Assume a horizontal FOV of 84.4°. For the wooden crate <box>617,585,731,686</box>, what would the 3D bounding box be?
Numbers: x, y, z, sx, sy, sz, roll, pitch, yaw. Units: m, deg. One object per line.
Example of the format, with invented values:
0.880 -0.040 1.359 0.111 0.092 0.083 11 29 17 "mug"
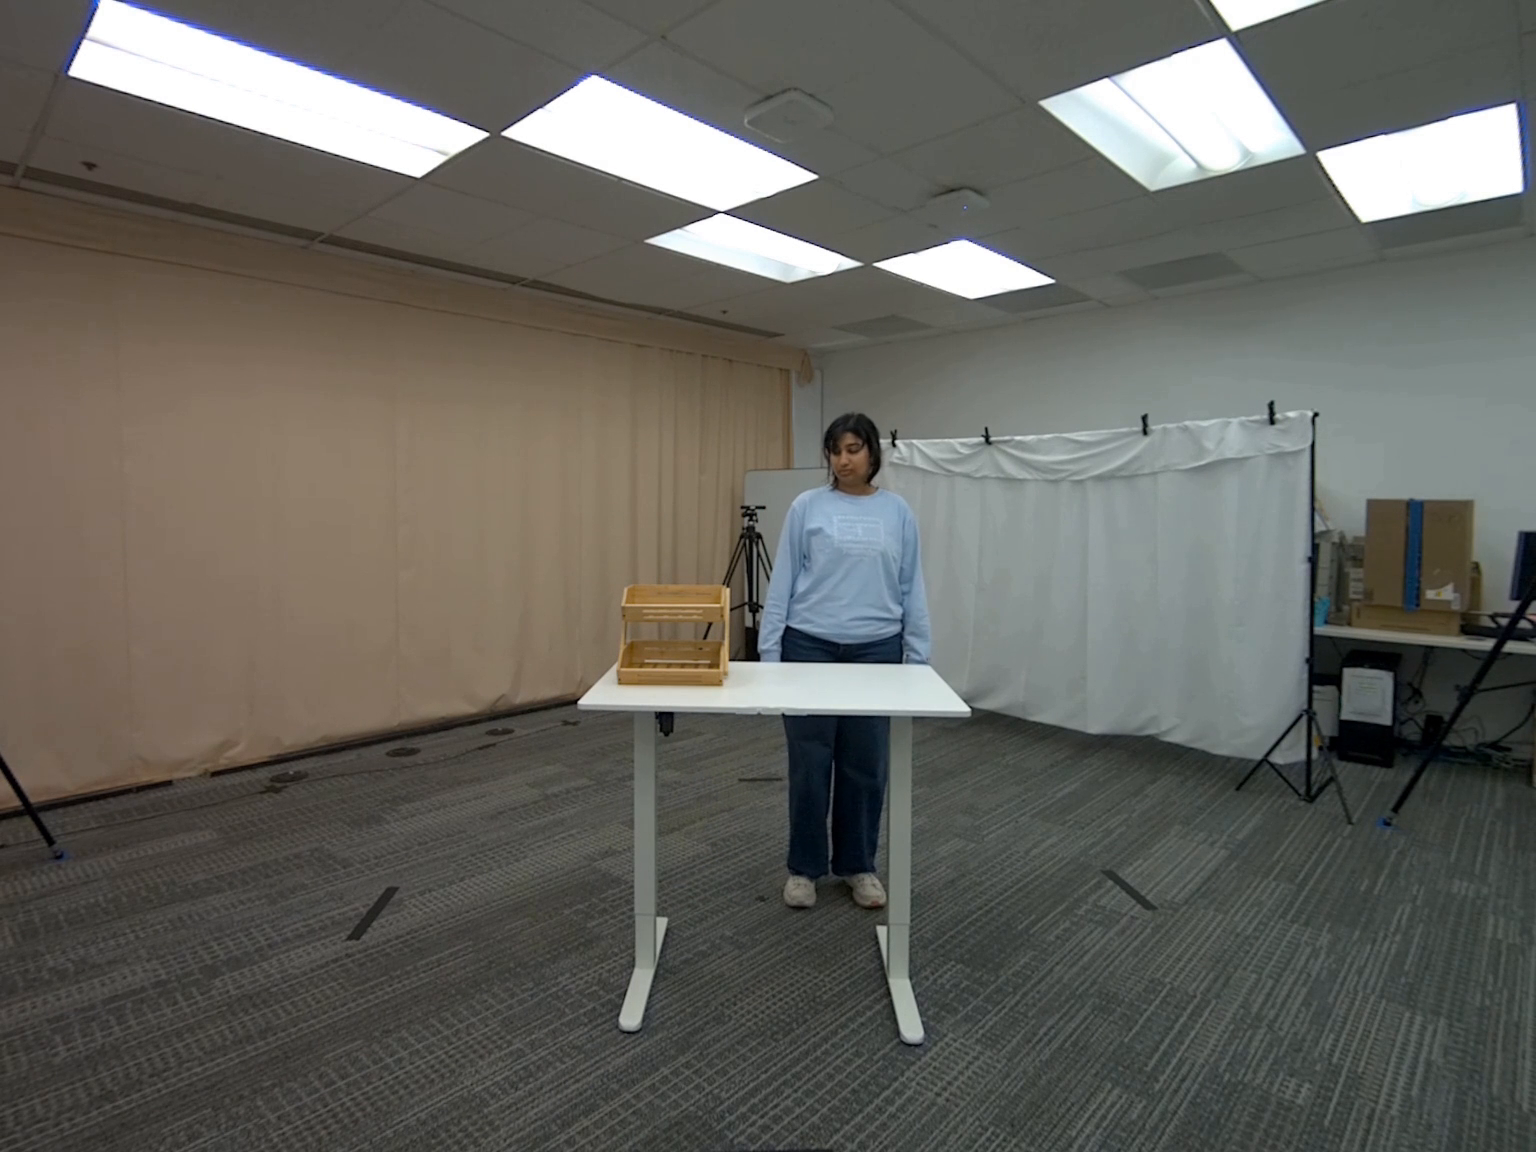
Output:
-0.274 0.166 2.505 0.325 0.273 0.302 0 3 0 "wooden crate"
